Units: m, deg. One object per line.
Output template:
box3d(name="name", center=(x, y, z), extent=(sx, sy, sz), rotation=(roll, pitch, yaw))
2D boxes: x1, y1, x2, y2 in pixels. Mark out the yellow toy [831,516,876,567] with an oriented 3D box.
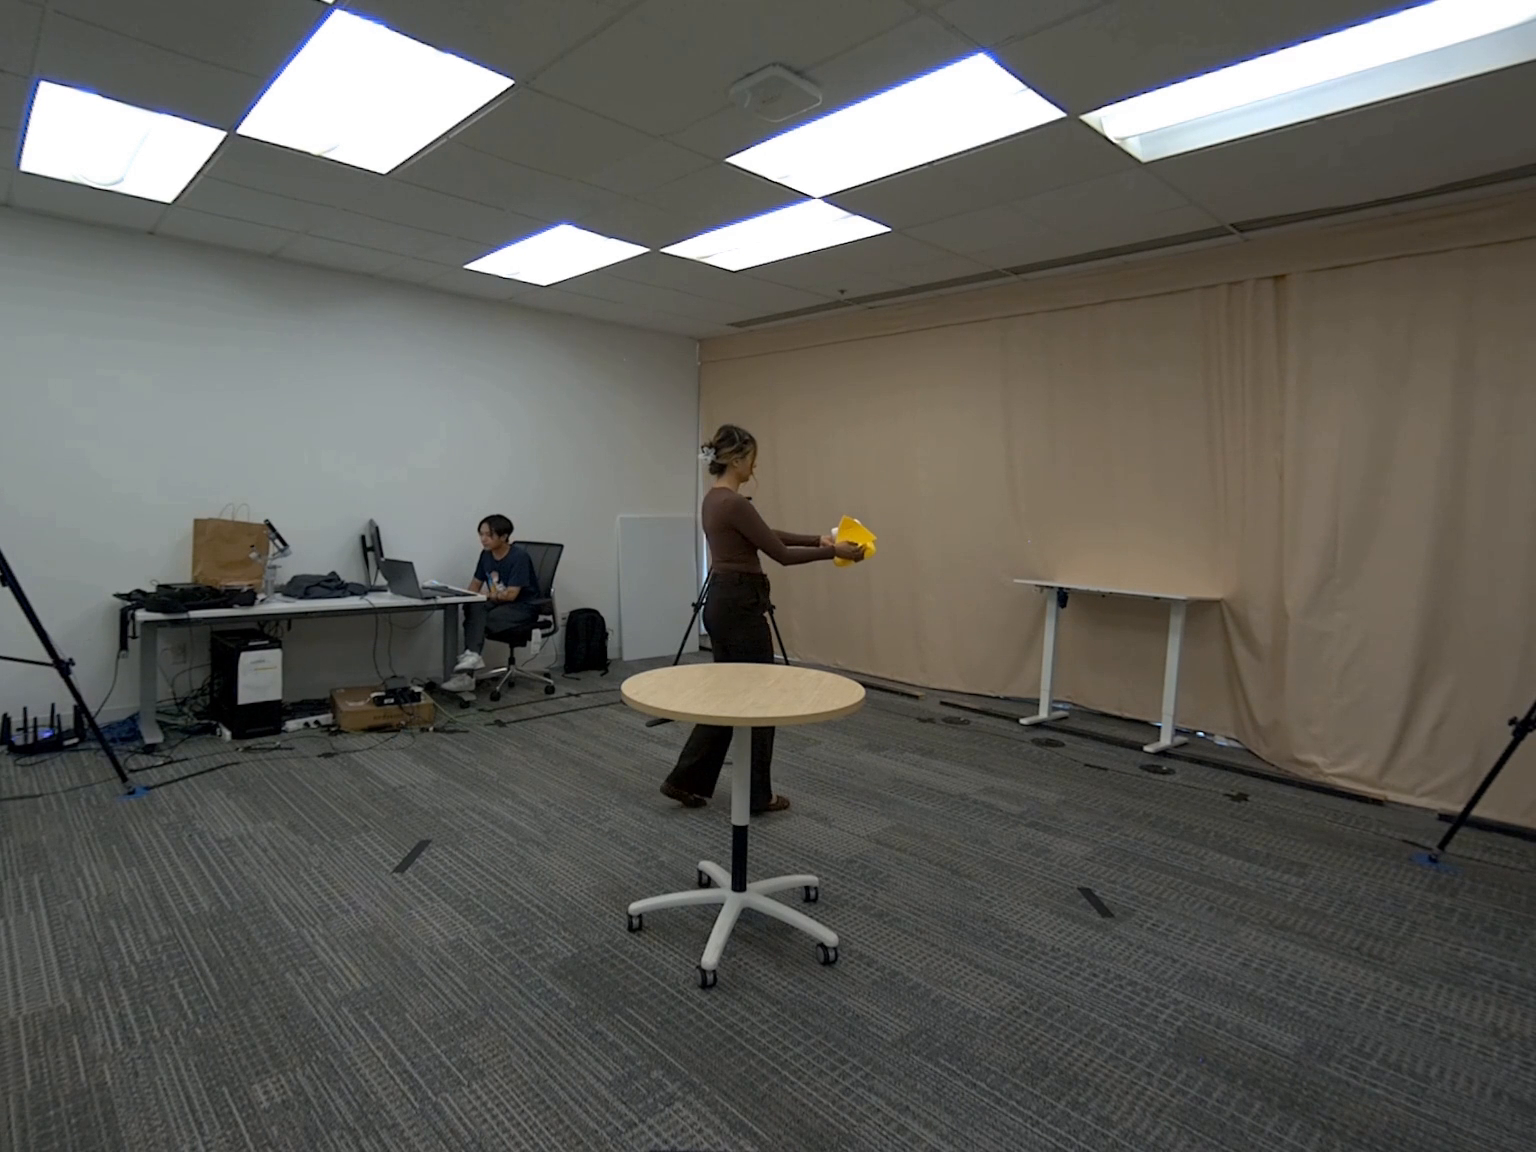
box3d(name="yellow toy", center=(0.346, -0.192, 3.827), extent=(0.204, 0.226, 0.197), rotation=(-23, 22, -5))
